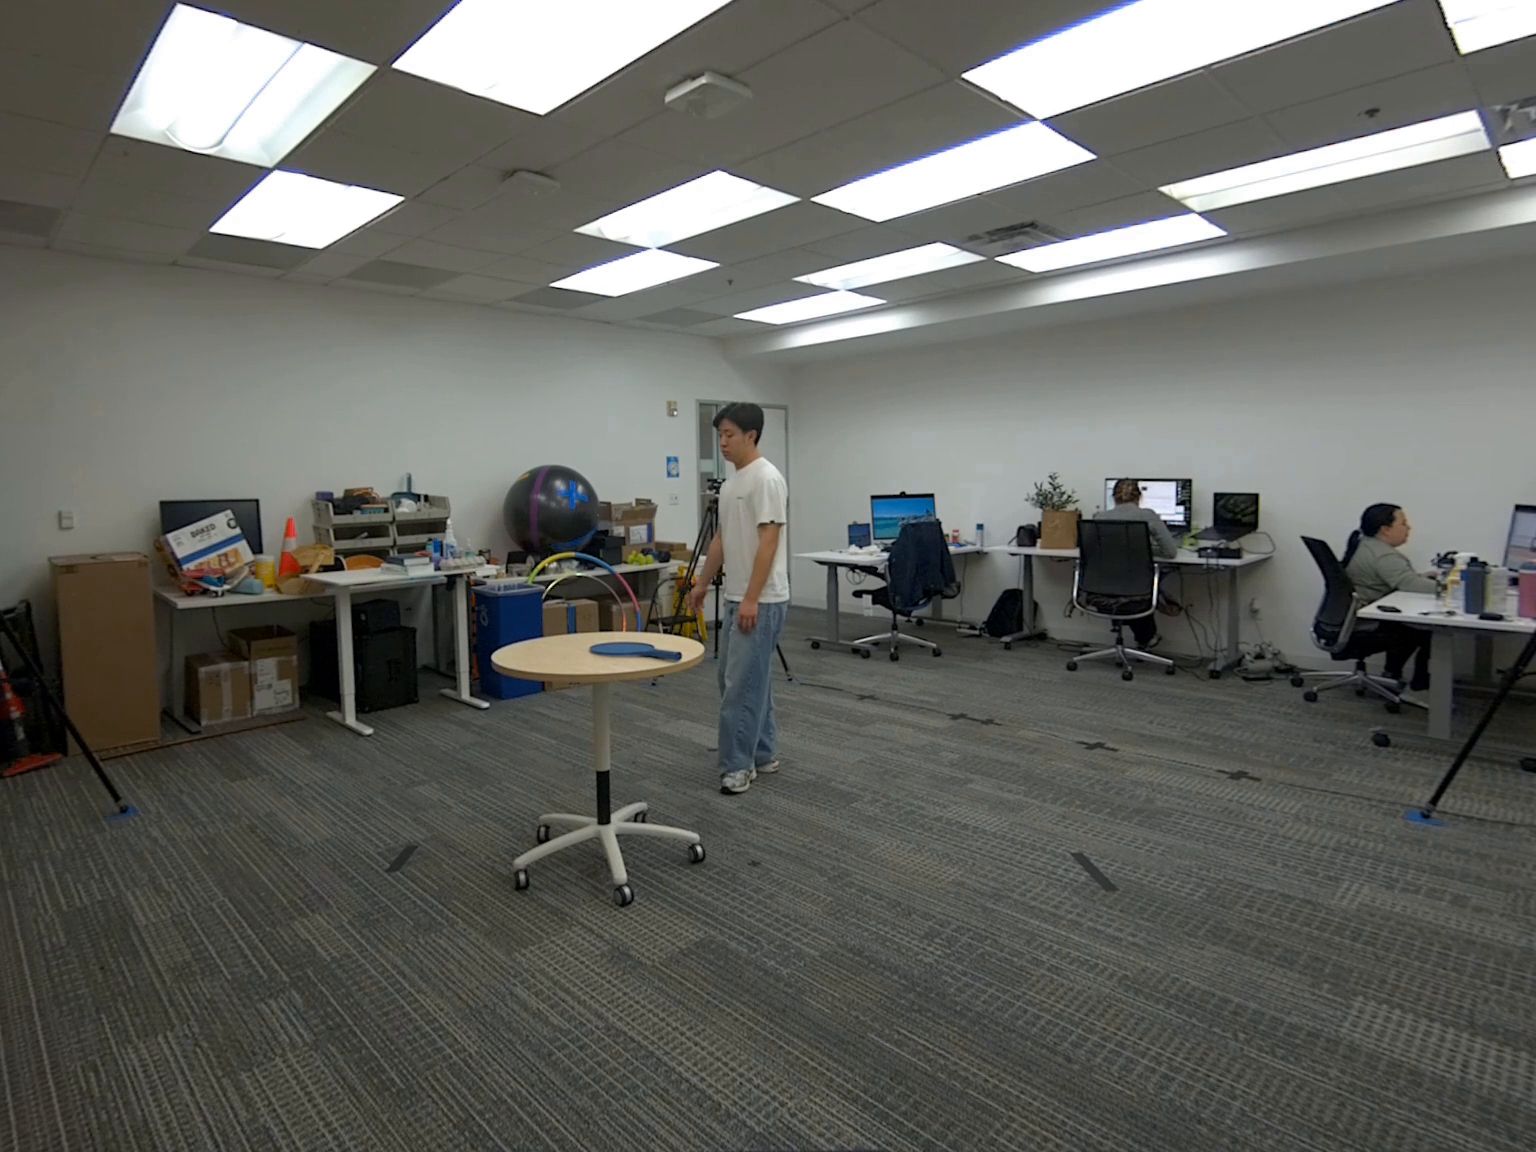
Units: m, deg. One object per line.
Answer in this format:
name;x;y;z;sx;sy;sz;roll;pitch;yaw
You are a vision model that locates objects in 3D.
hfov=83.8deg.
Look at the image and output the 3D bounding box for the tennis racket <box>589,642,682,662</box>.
tennis racket;-0.465;0.267;3.037;0.446;0.031;0.208;3;7;44
